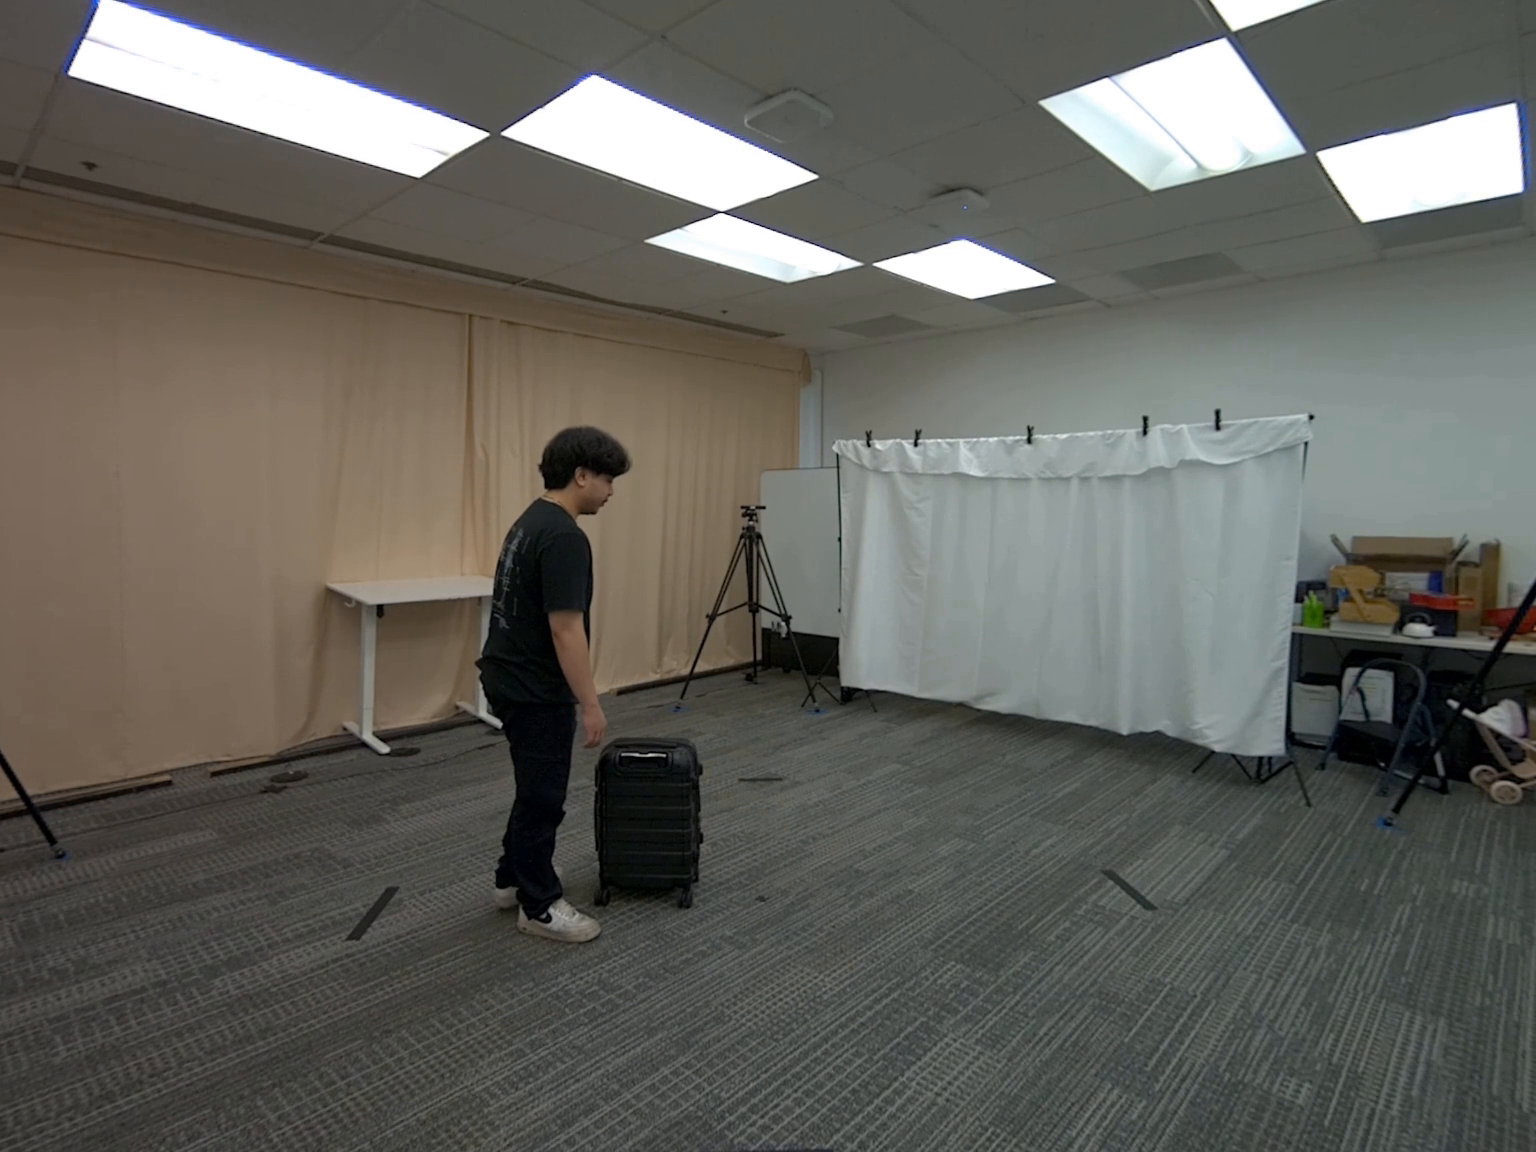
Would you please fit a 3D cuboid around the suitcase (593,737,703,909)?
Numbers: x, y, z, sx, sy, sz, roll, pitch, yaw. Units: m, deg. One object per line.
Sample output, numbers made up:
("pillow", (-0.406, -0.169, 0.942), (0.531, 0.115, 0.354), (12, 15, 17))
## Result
("suitcase", (-0.432, 0.866, 3.047), (0.376, 0.549, 0.248), (0, 1, 2))
